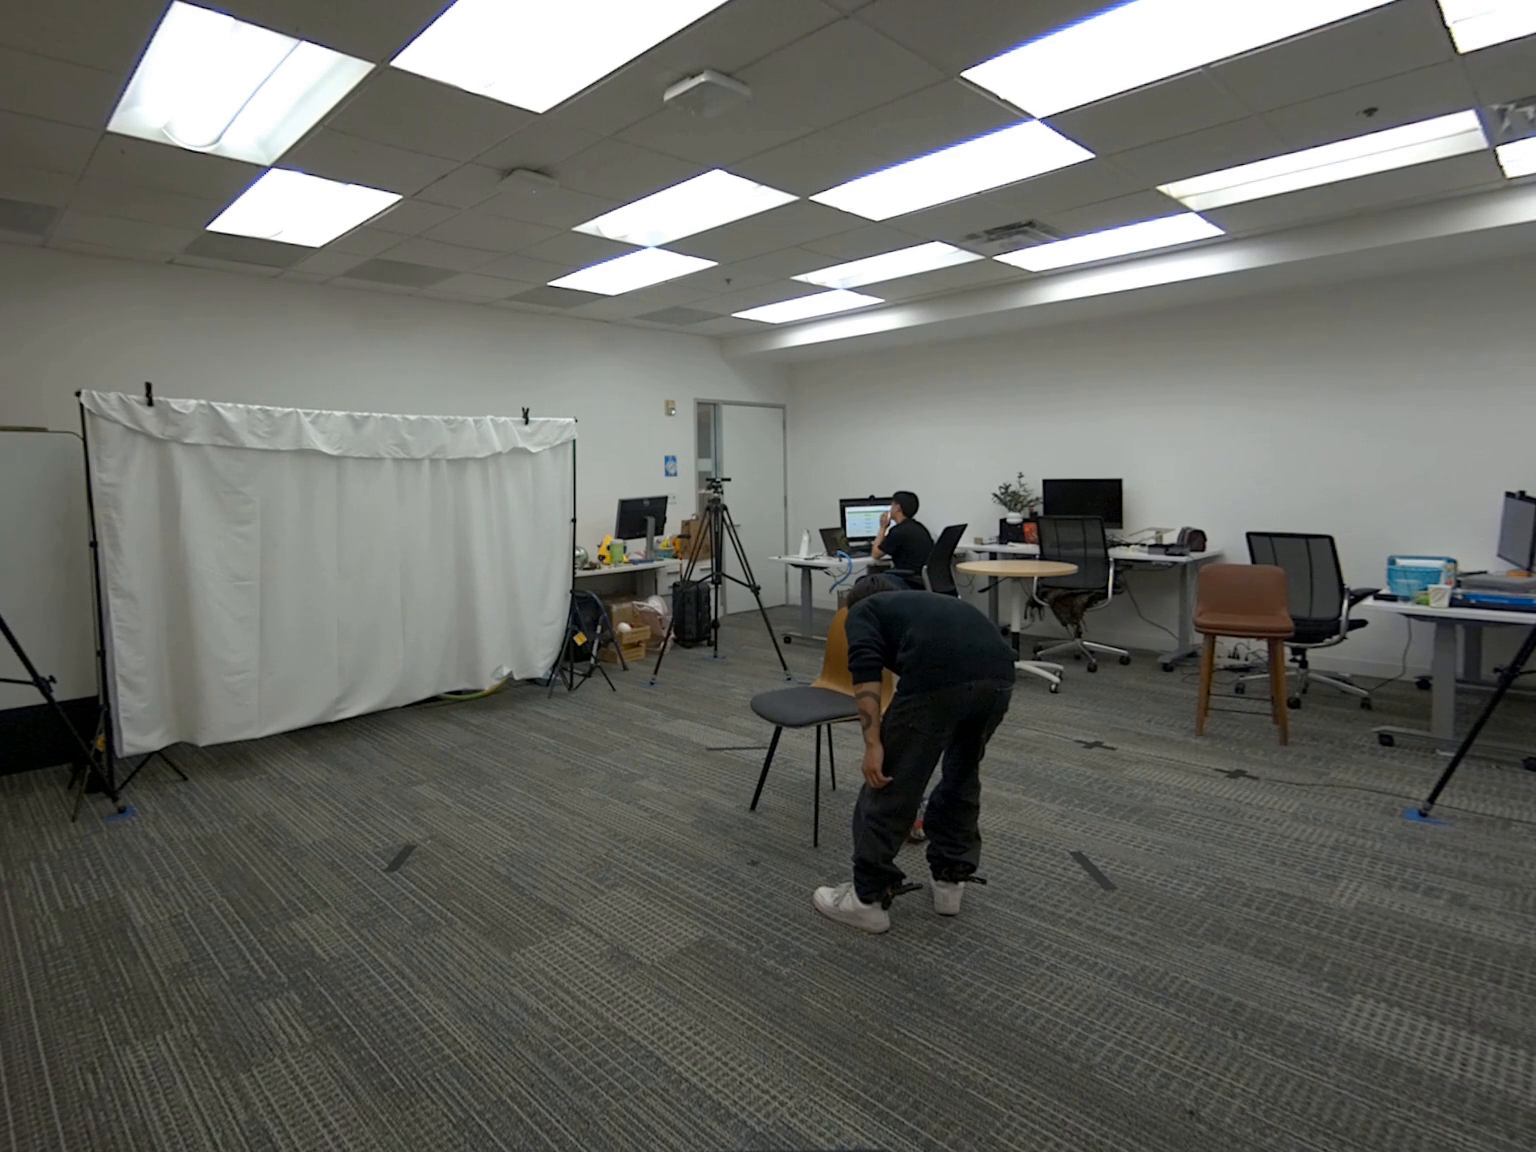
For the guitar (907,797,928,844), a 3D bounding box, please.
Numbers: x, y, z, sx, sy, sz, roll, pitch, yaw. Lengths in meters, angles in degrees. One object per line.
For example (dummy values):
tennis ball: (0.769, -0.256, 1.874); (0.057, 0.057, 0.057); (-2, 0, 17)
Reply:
guitar: (0.560, 0.764, 3.338); (0.188, 0.505, 0.071); (0, -17, -35)
